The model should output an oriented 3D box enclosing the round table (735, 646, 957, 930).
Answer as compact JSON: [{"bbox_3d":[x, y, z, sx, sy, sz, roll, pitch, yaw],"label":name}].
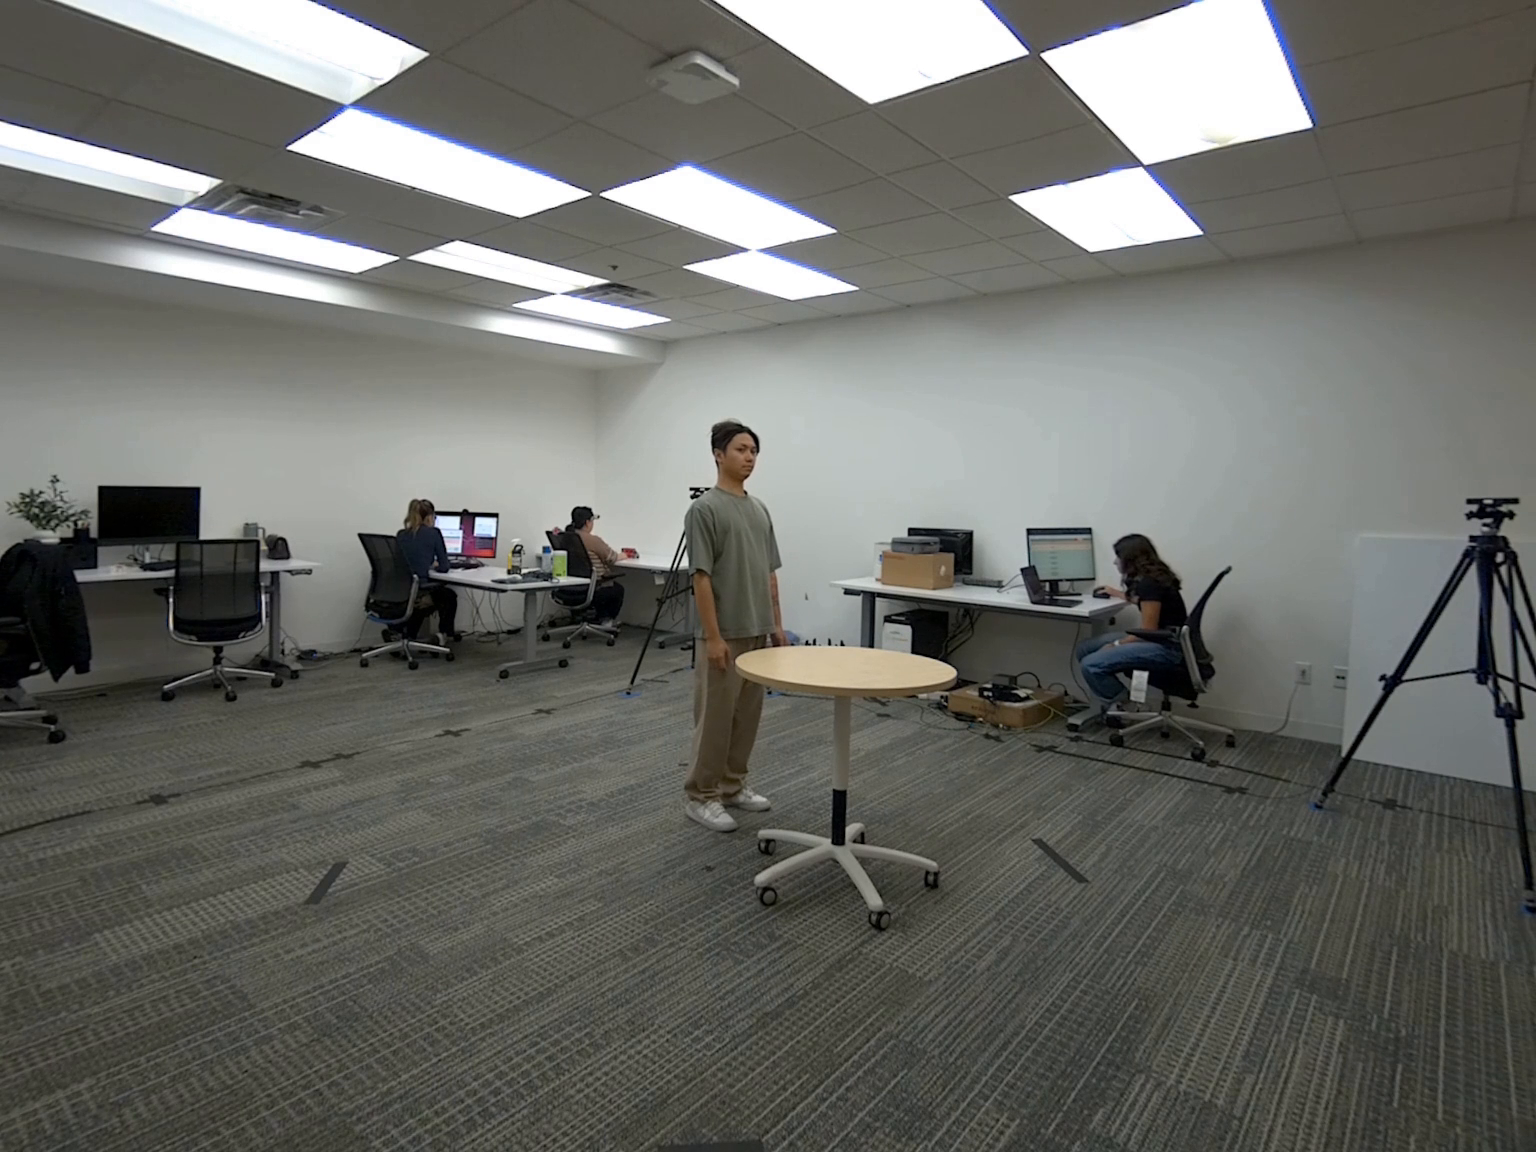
[{"bbox_3d":[0.251,0.698,2.999,0.784,0.784,0.788,1,3,-2],"label":"round table"}]
